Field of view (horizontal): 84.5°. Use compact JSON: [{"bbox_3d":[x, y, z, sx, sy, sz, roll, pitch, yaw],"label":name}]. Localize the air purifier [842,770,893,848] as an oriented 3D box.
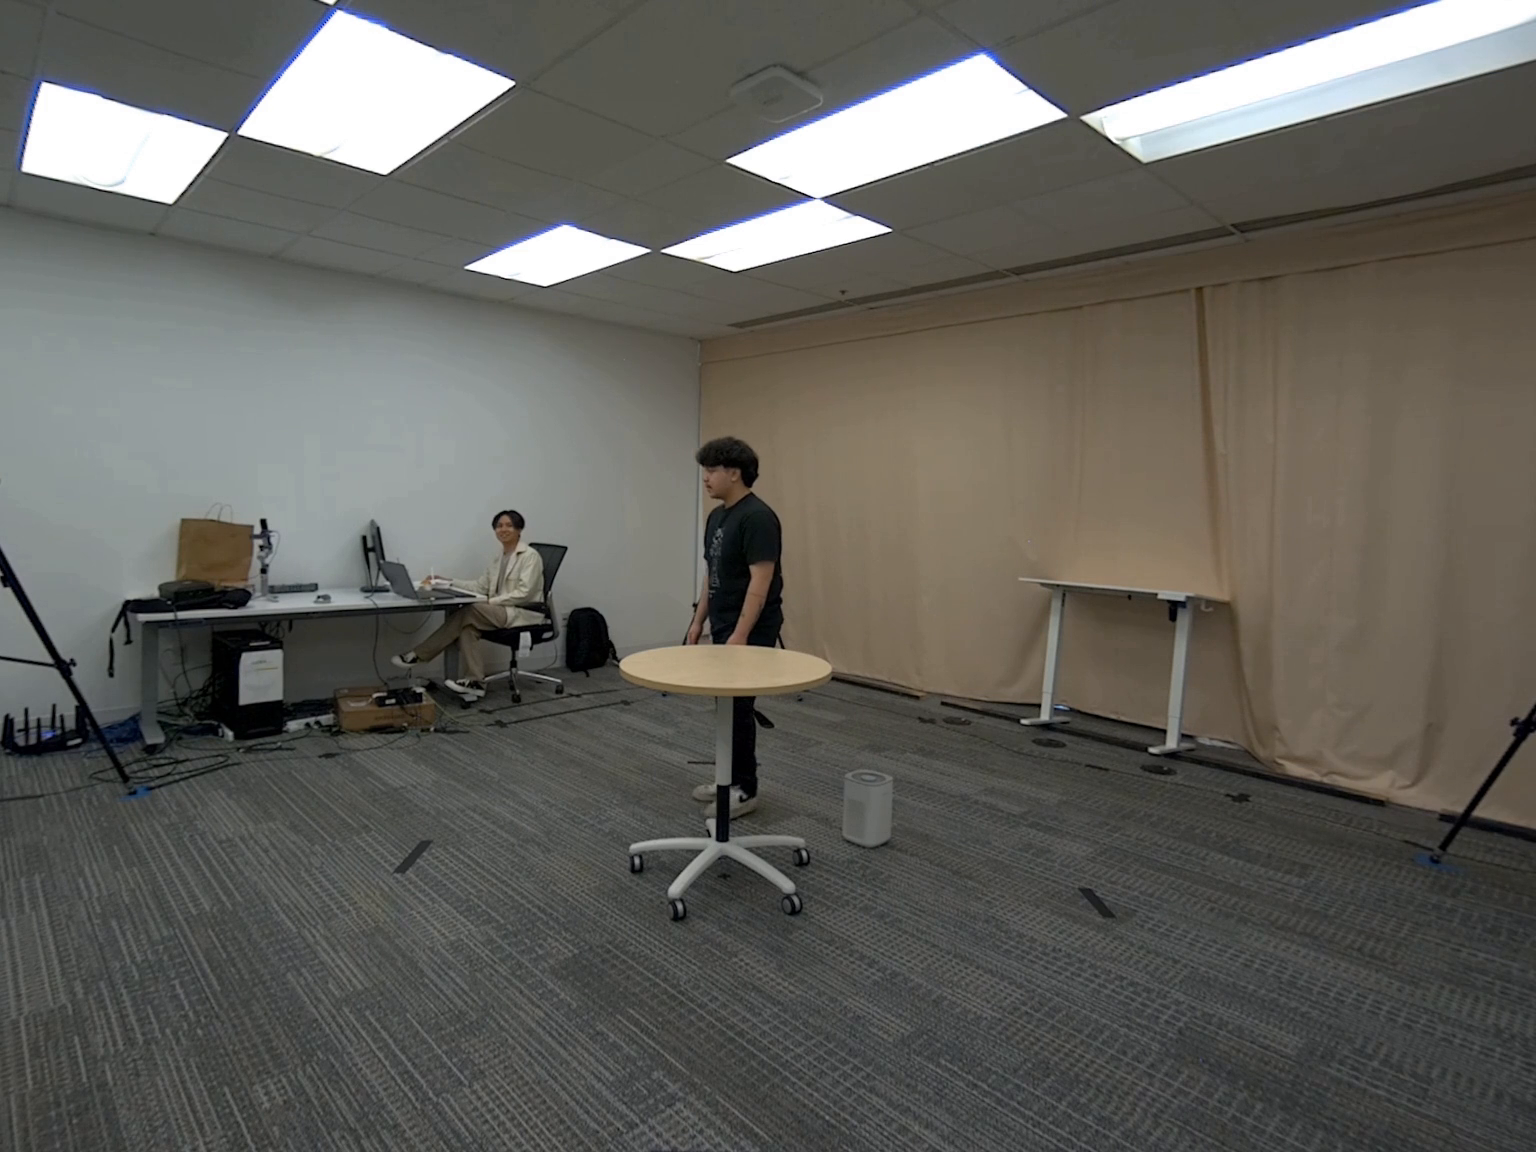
[{"bbox_3d":[0.402,0.949,3.473,0.176,0.265,0.167,5,5,43],"label":"air purifier"}]
